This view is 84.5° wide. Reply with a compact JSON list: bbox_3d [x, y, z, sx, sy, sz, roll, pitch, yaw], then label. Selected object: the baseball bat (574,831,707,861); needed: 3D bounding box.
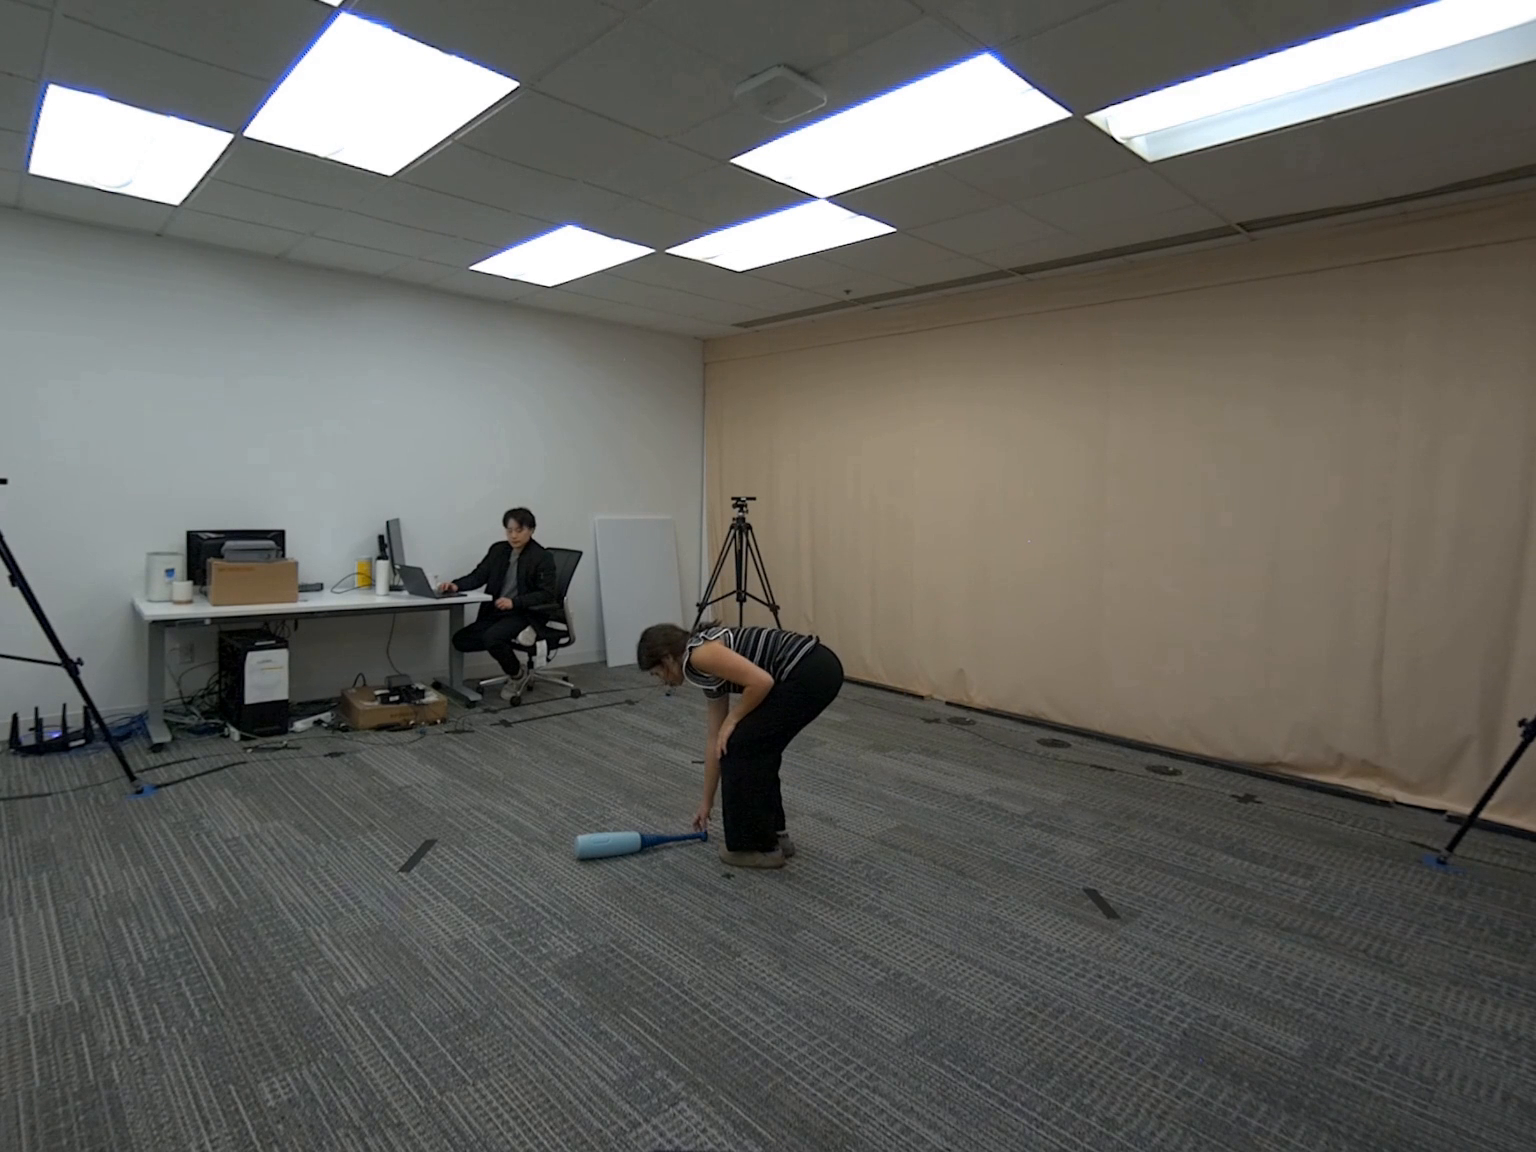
[{"bbox_3d":[-0.496,1.042,3.309,0.533,0.089,0.091,3,3,-23],"label":"baseball bat"}]
